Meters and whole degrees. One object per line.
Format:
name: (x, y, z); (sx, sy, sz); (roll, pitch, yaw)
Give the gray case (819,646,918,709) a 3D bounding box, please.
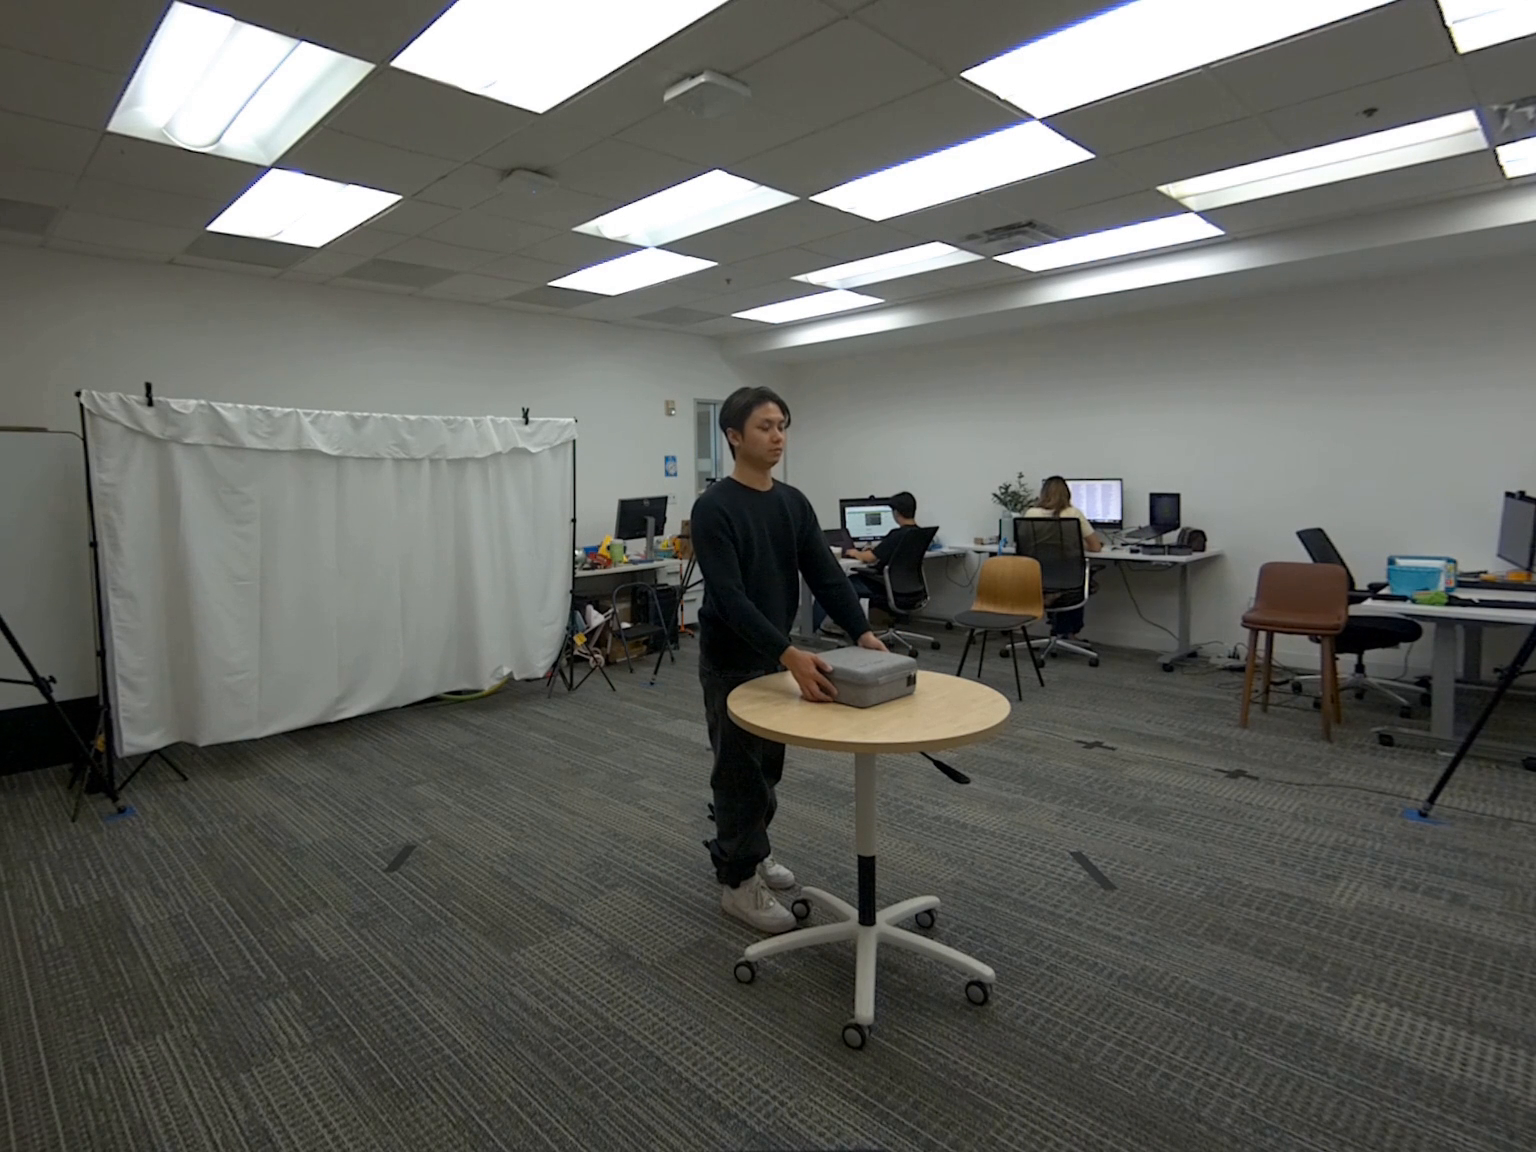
gray case: (0.261, 0.285, 2.403); (0.250, 0.103, 0.269); (-10, 12, -43)
